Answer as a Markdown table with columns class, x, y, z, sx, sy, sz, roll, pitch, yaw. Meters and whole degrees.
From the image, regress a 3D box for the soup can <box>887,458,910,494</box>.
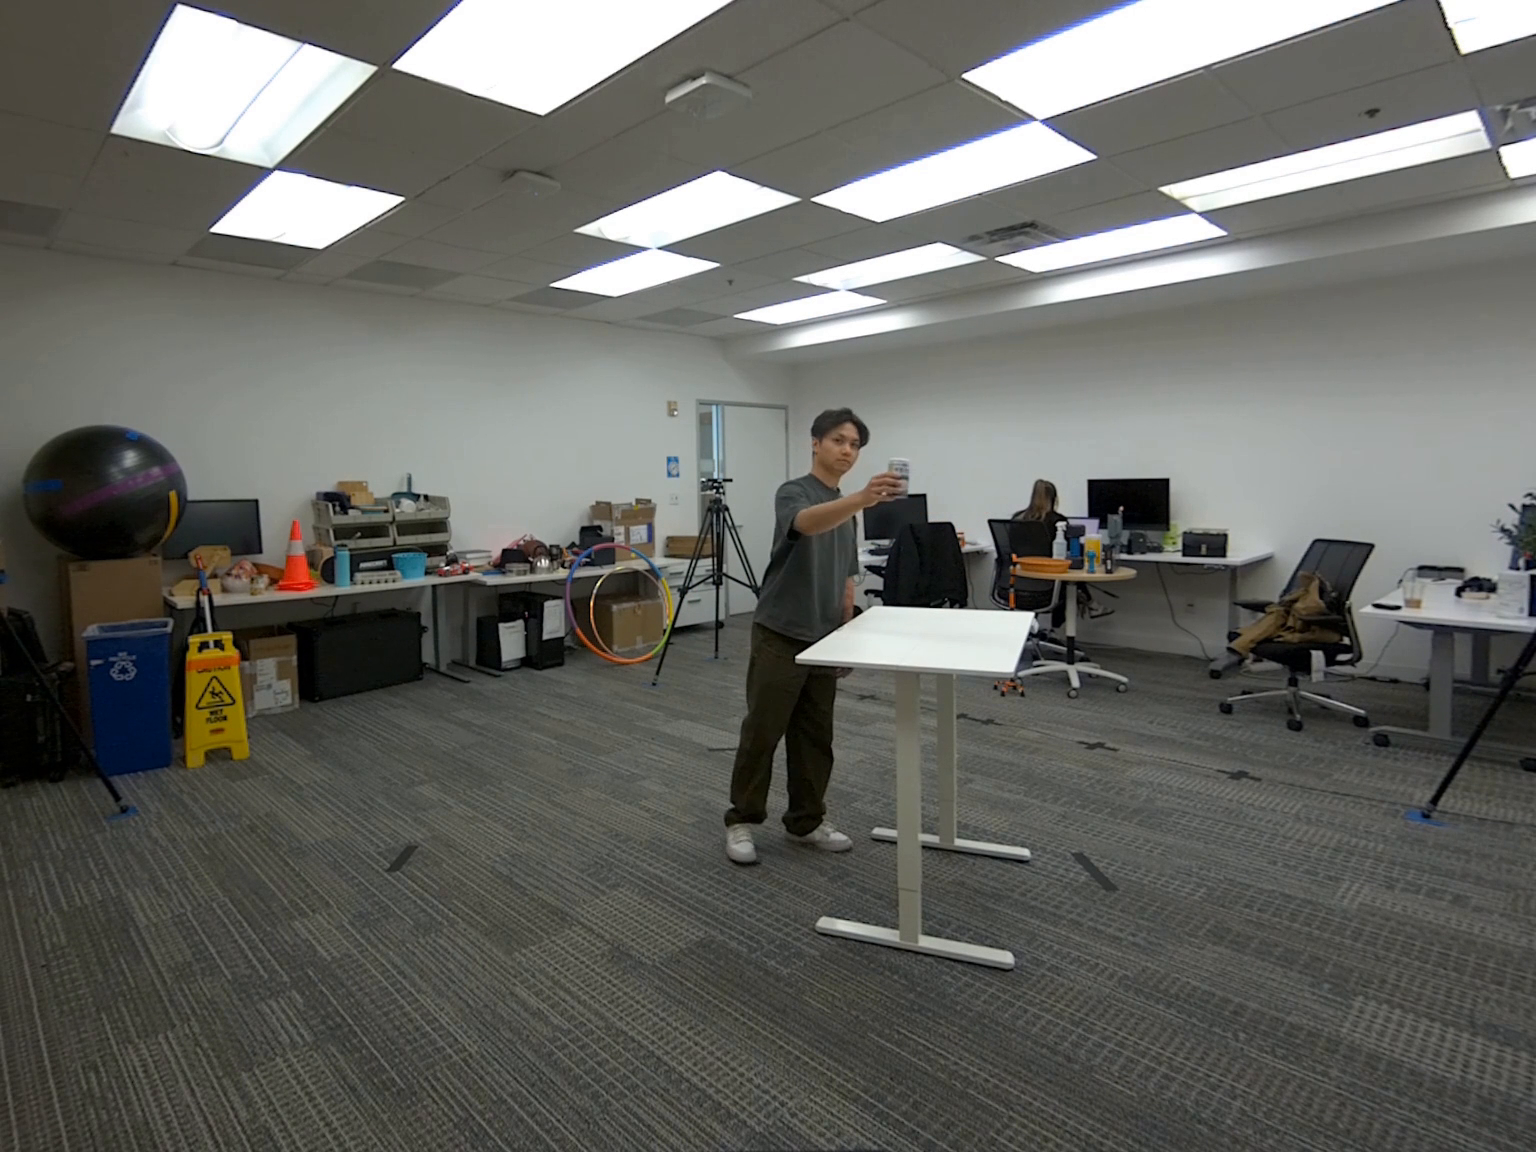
| class | x | y | z | sx | sy | sz | roll | pitch | yaw |
| --- | --- | --- | --- | --- | --- | --- | --- | --- | --- |
| soup can | 0.421 | -0.302 | 2.638 | 0.067 | 0.122 | 0.067 | 3 | -1 | -2 |
